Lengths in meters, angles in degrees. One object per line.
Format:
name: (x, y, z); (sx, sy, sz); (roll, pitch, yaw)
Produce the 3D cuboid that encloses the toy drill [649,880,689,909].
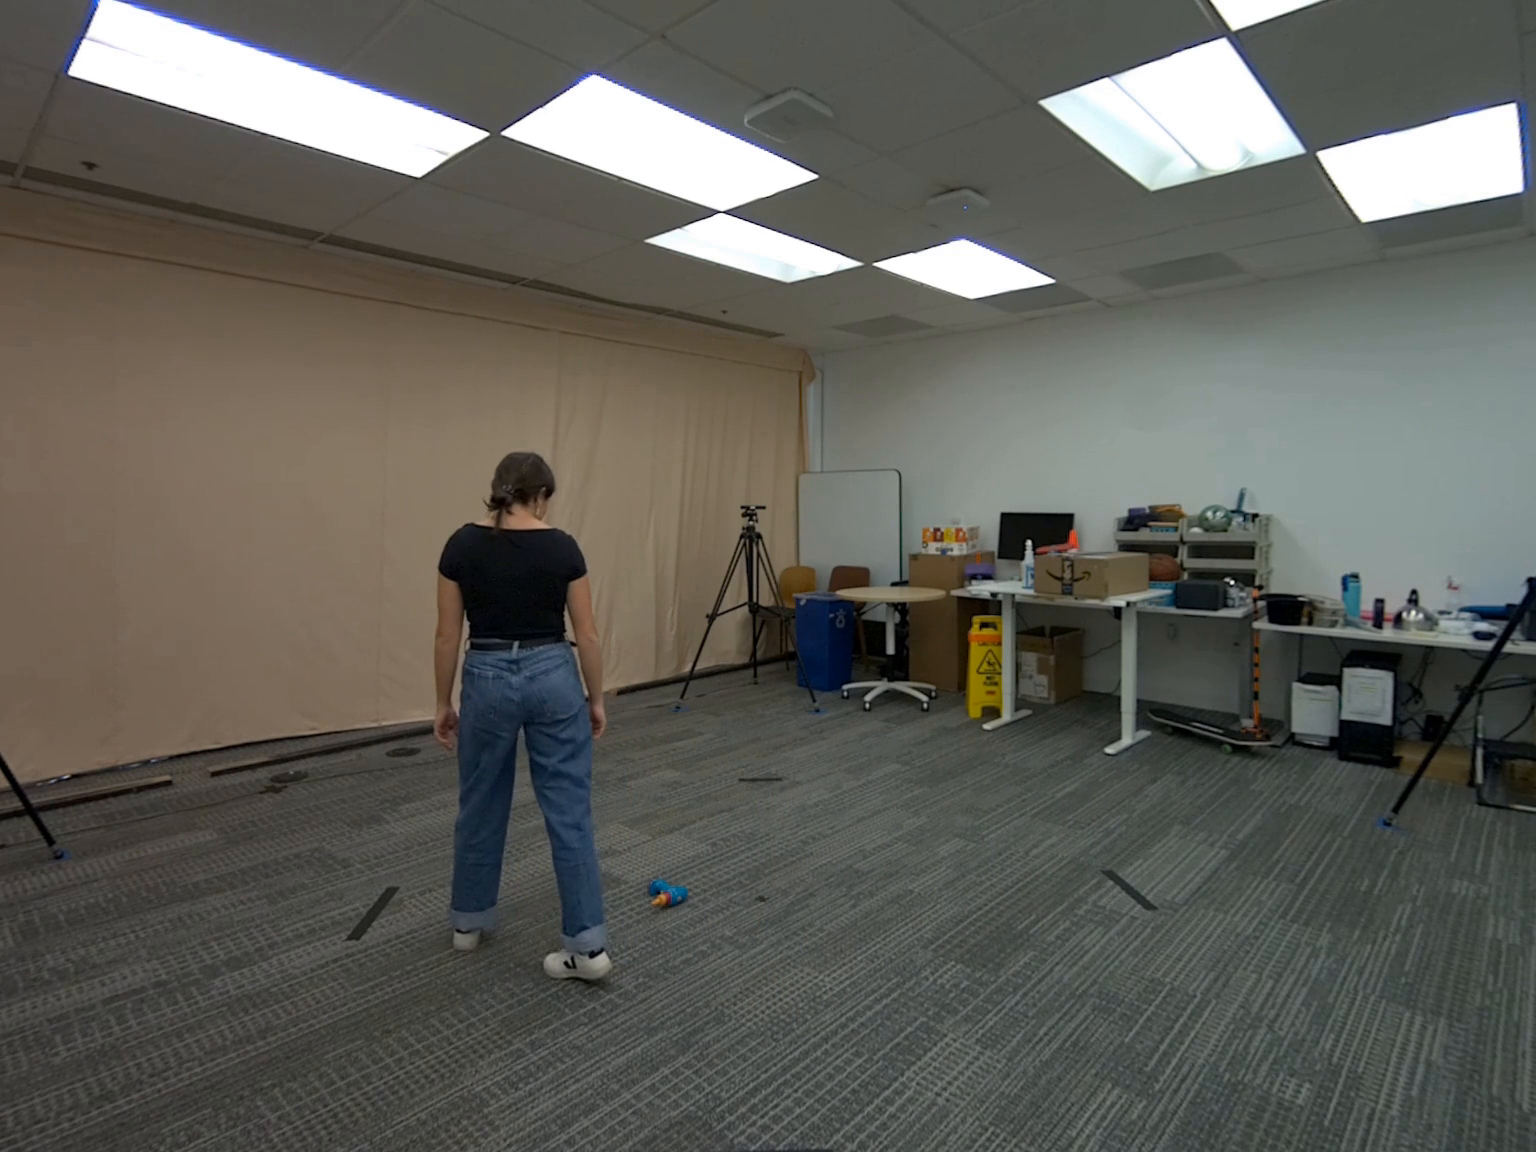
toy drill: (-0.367, 1.121, 2.955); (0.151, 0.061, 0.164); (1, -1, 40)
